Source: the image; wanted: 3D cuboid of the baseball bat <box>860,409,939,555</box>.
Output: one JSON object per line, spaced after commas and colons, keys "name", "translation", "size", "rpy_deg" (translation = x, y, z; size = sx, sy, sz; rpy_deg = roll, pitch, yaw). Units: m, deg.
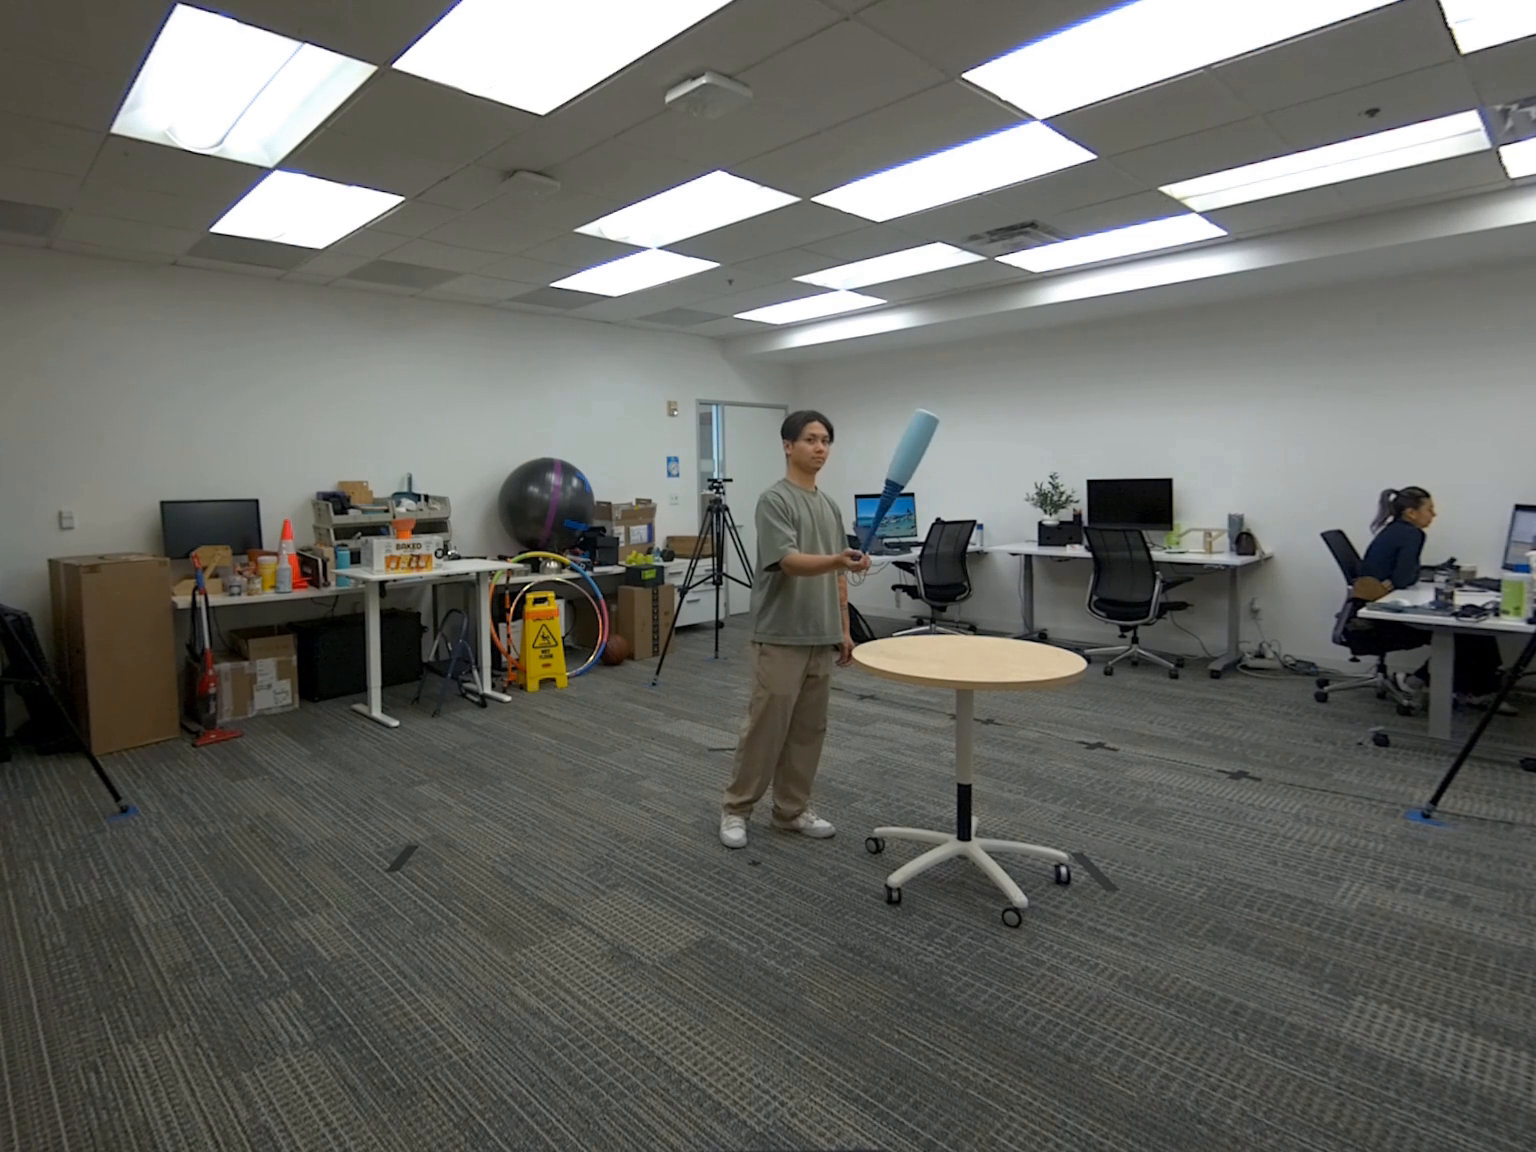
{"name": "baseball bat", "translation": [0.424, -0.279, 2.801], "size": [0.089, 0.542, 0.089], "rpy_deg": [24, 4, -4]}
